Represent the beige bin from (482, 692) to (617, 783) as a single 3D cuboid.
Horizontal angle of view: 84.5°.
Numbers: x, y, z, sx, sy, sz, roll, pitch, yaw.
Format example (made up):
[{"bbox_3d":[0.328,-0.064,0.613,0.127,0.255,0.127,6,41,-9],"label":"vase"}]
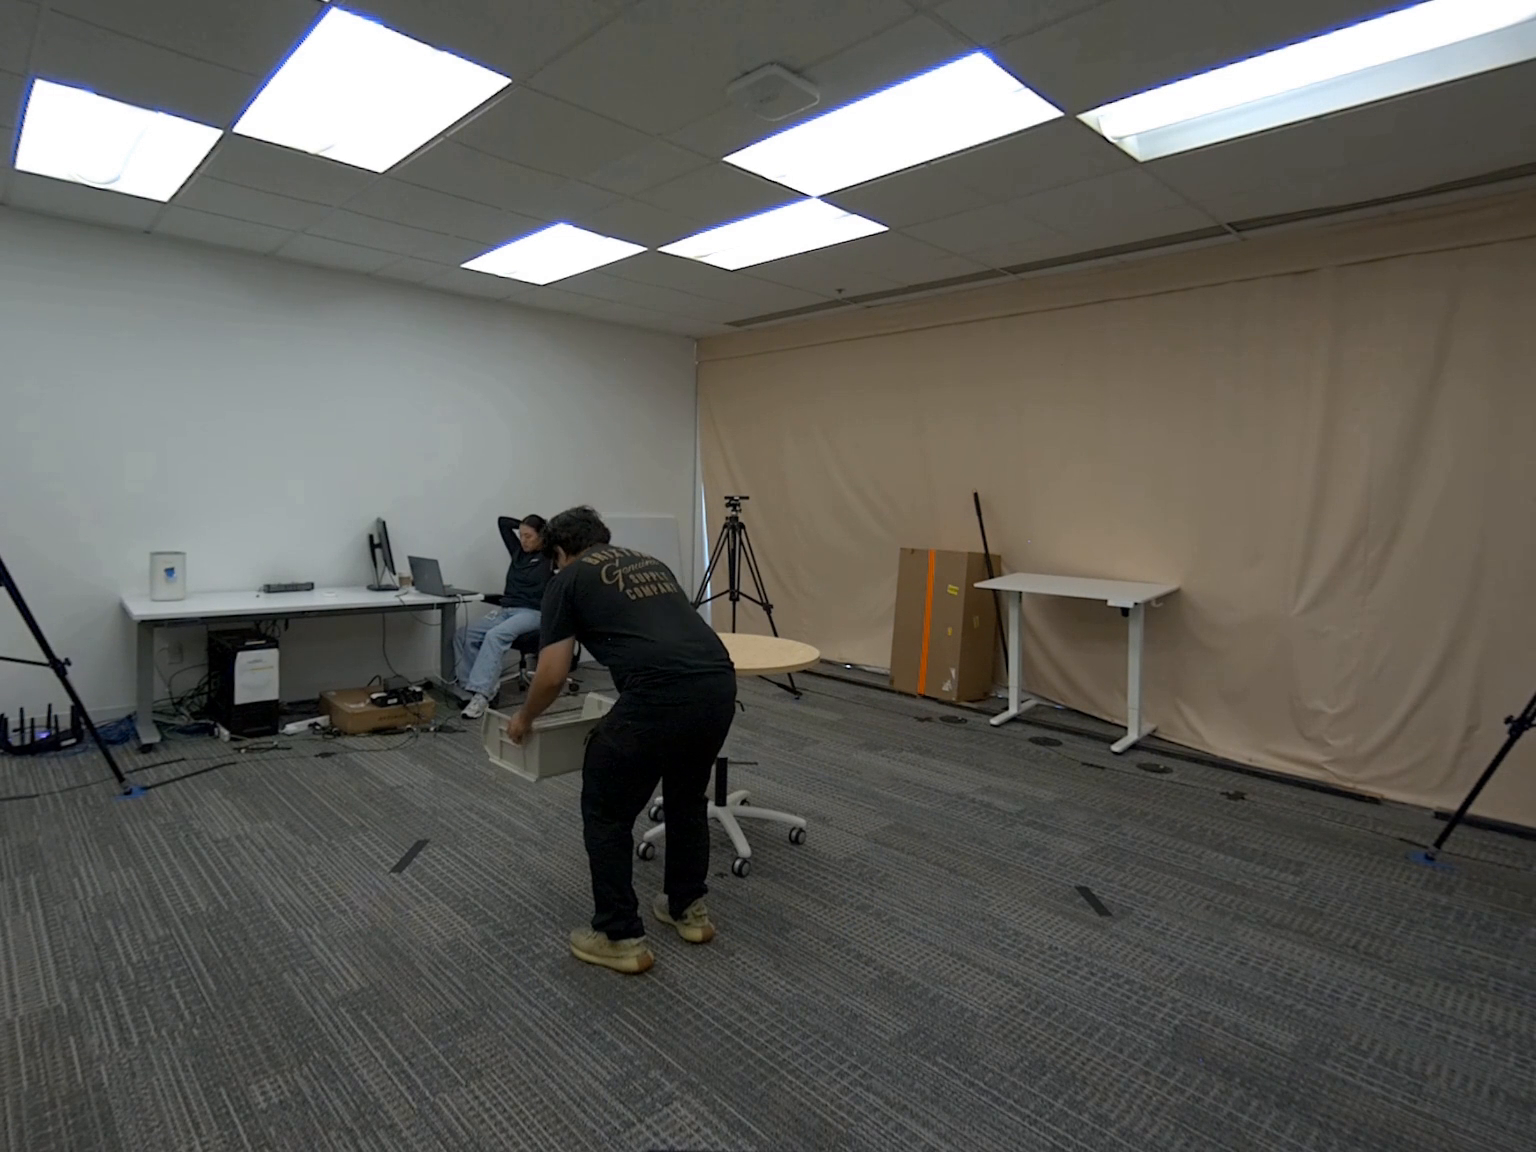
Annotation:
[{"bbox_3d":[-0.712,0.543,2.913,0.412,0.188,0.387,-2,6,-43],"label":"beige bin"}]
